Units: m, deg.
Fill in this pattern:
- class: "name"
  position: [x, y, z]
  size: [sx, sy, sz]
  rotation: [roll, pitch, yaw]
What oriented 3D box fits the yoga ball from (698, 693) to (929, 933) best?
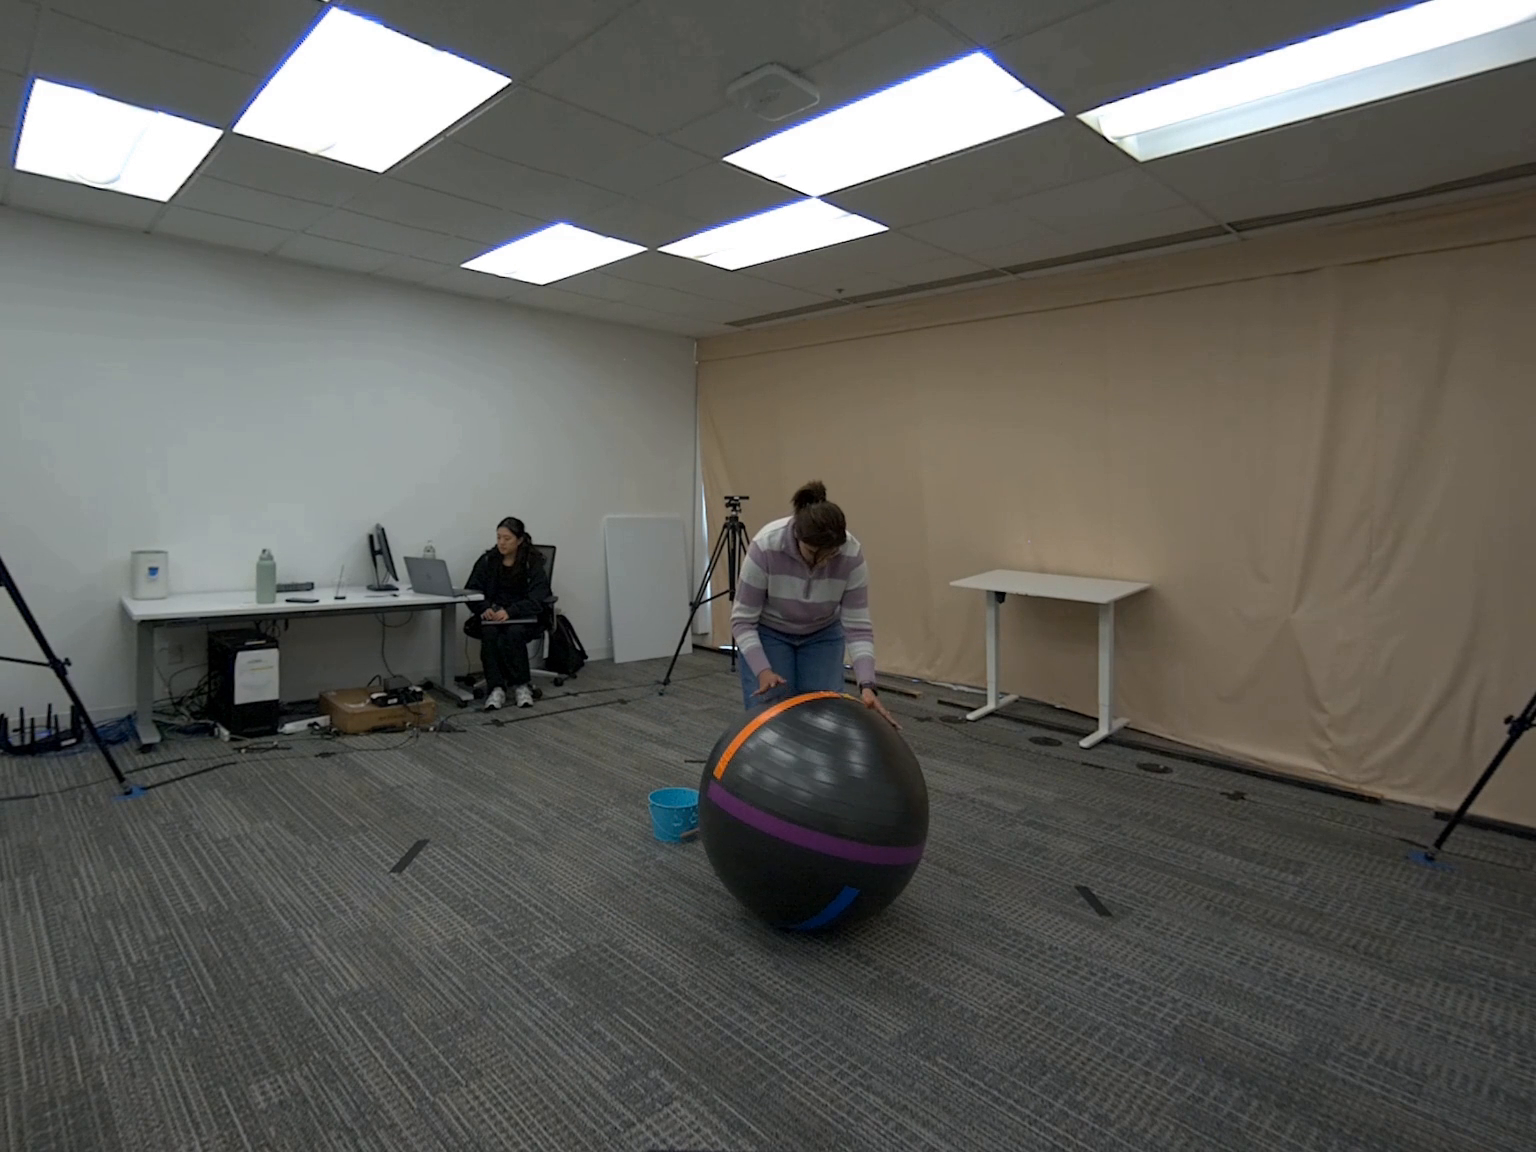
- class: "yoga ball"
  position: [0.147, 0.771, 2.791]
  size: [0.757, 0.756, 0.761]
  rotation: [1, 4, -1]
